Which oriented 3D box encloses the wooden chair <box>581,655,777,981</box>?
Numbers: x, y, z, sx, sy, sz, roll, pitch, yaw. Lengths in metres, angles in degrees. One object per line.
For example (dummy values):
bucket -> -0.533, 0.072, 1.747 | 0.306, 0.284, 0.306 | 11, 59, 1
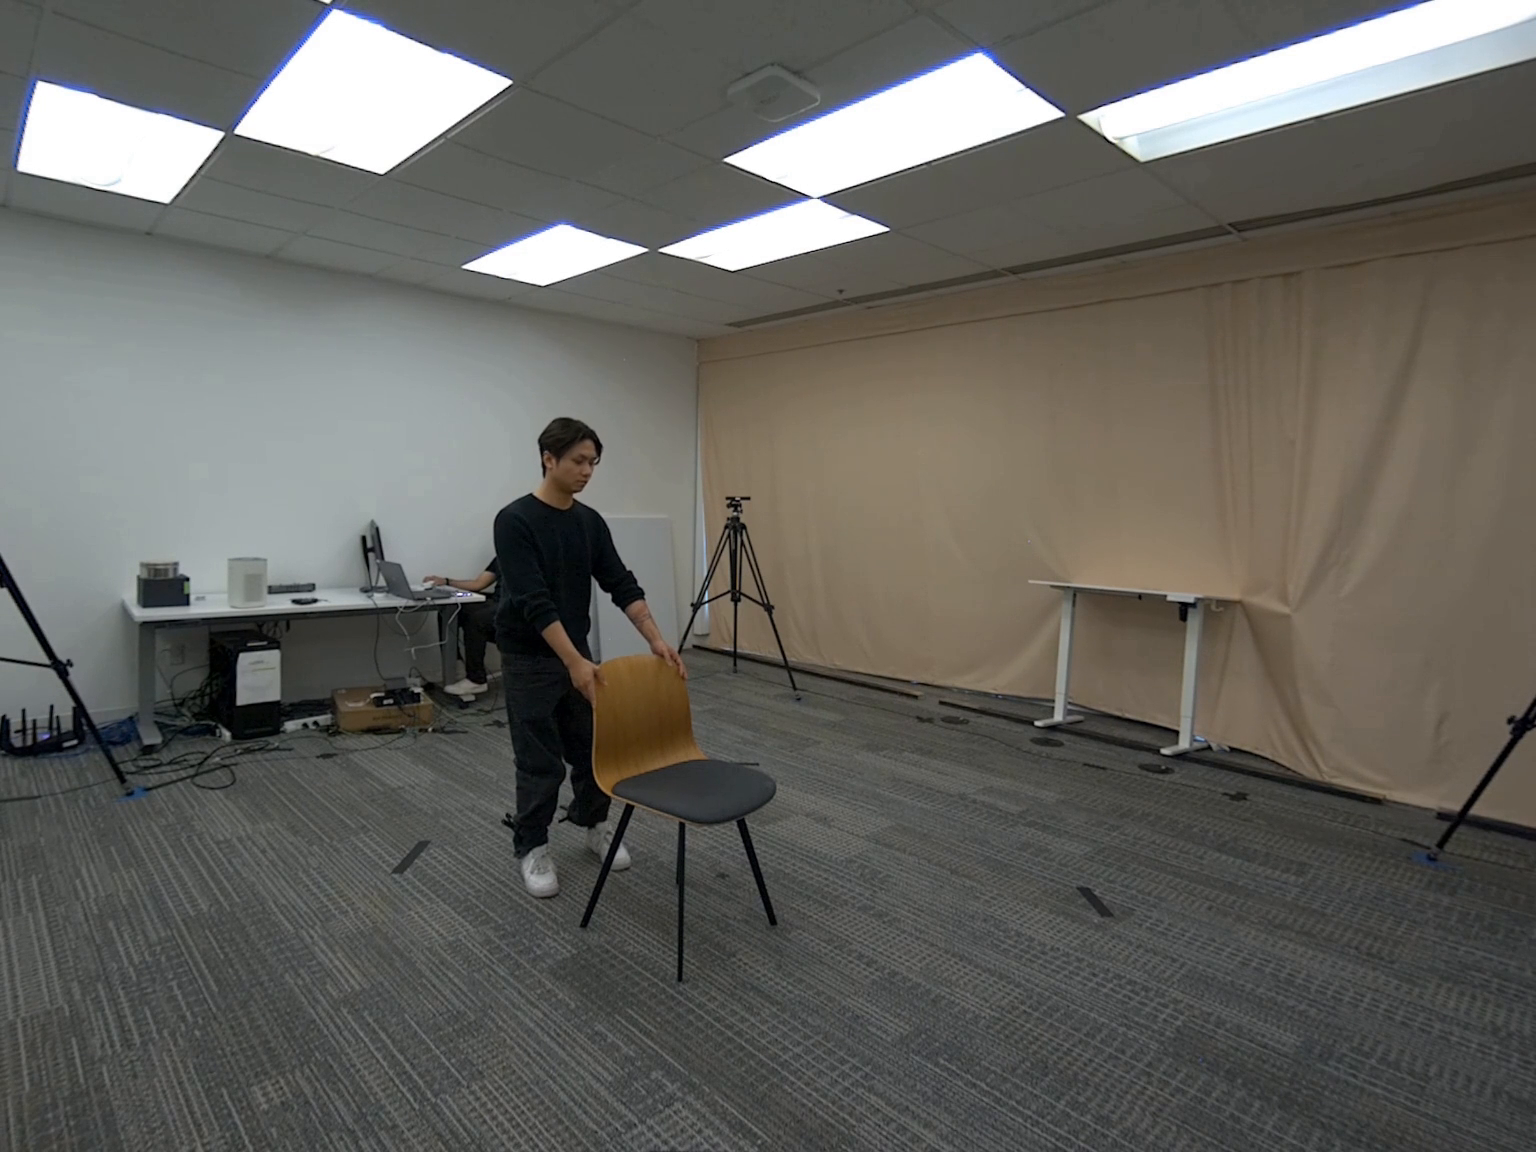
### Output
wooden chair -> -0.276, 0.710, 2.695 | 0.535, 0.877, 0.467 | -2, 0, 40
